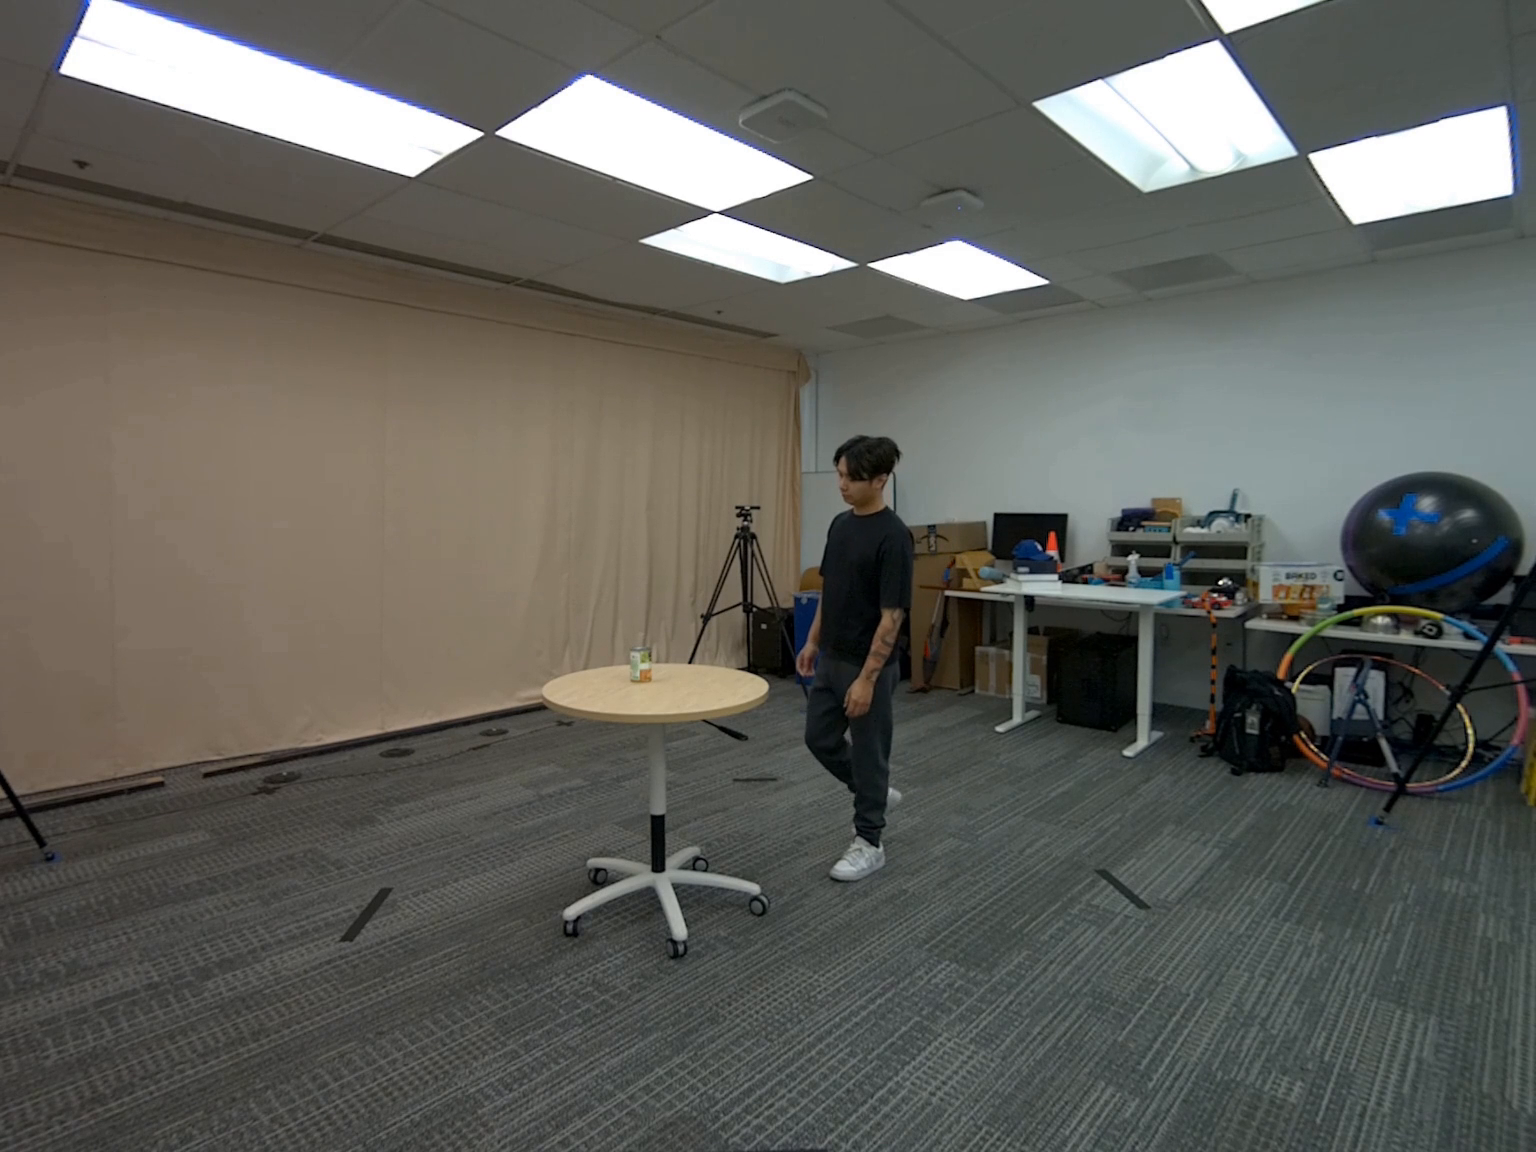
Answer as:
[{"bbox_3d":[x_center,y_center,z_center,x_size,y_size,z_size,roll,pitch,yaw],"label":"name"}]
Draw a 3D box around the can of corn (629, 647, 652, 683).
[{"bbox_3d":[-0.445,0.313,2.945,0.074,0.111,0.074,-1,1,-2],"label":"can of corn"}]
